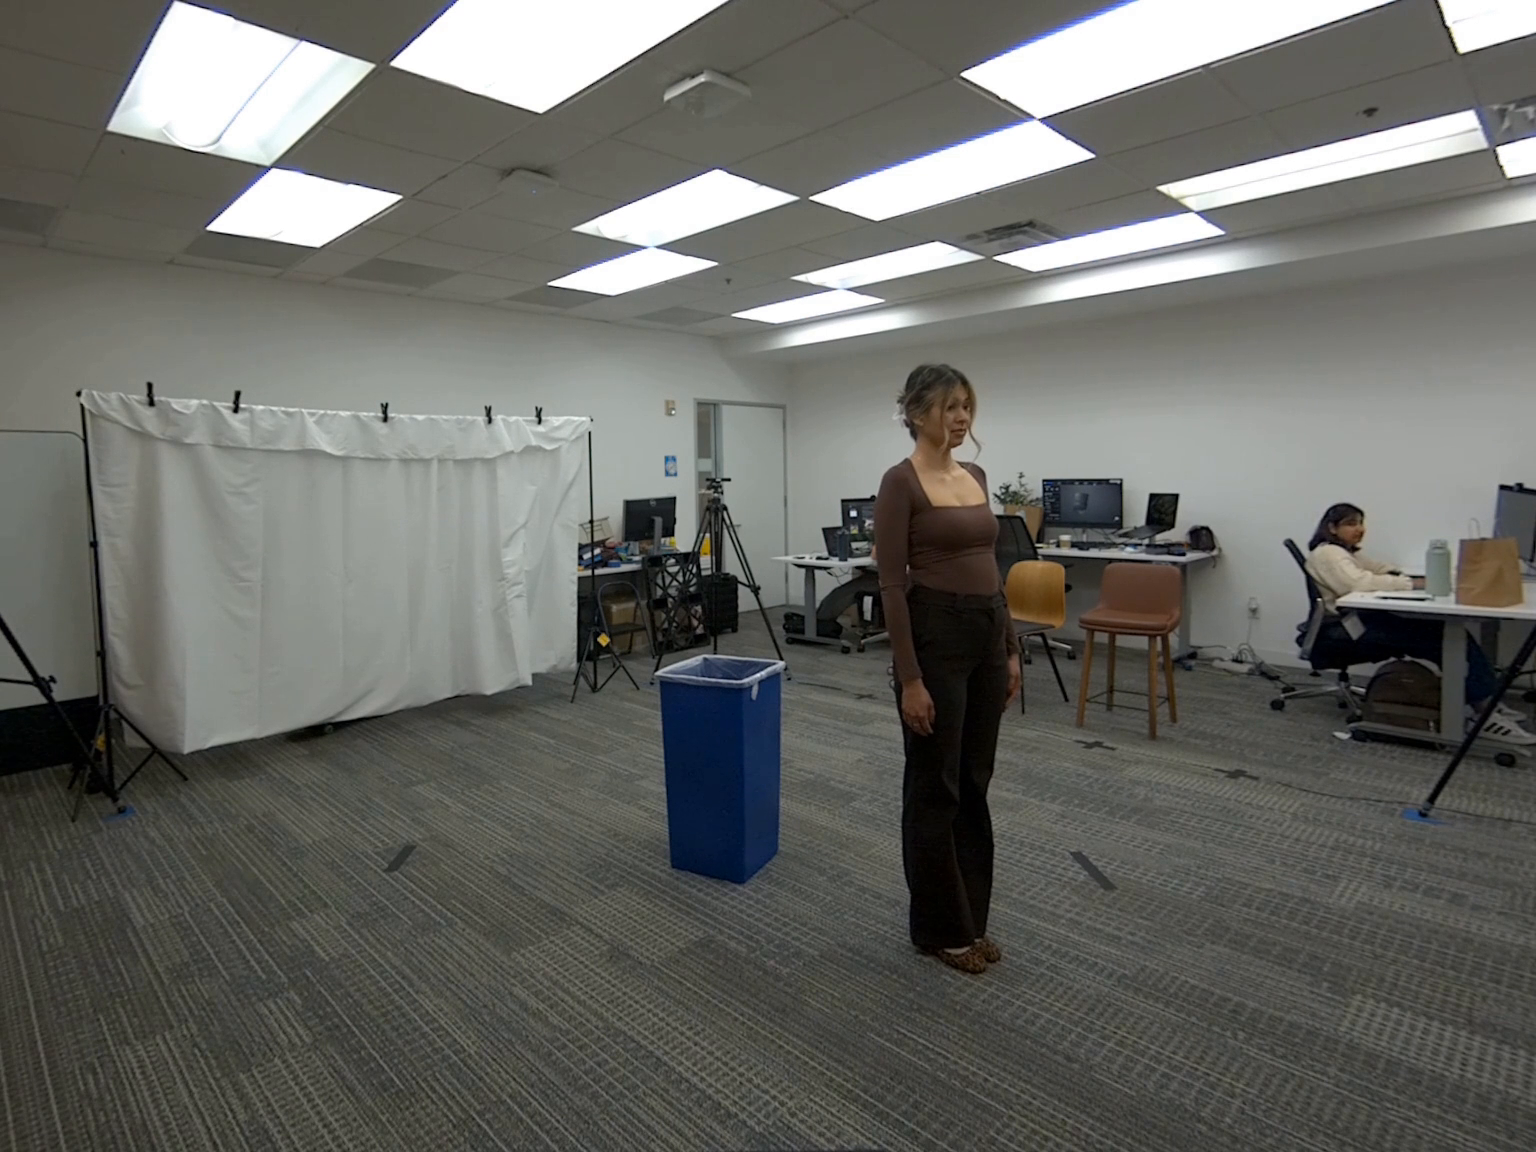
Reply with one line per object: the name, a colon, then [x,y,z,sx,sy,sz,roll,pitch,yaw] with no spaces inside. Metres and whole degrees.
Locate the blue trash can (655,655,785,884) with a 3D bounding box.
blue trash can: [-0.165,0.683,3.120,0.383,0.711,0.370,1,4,27]
